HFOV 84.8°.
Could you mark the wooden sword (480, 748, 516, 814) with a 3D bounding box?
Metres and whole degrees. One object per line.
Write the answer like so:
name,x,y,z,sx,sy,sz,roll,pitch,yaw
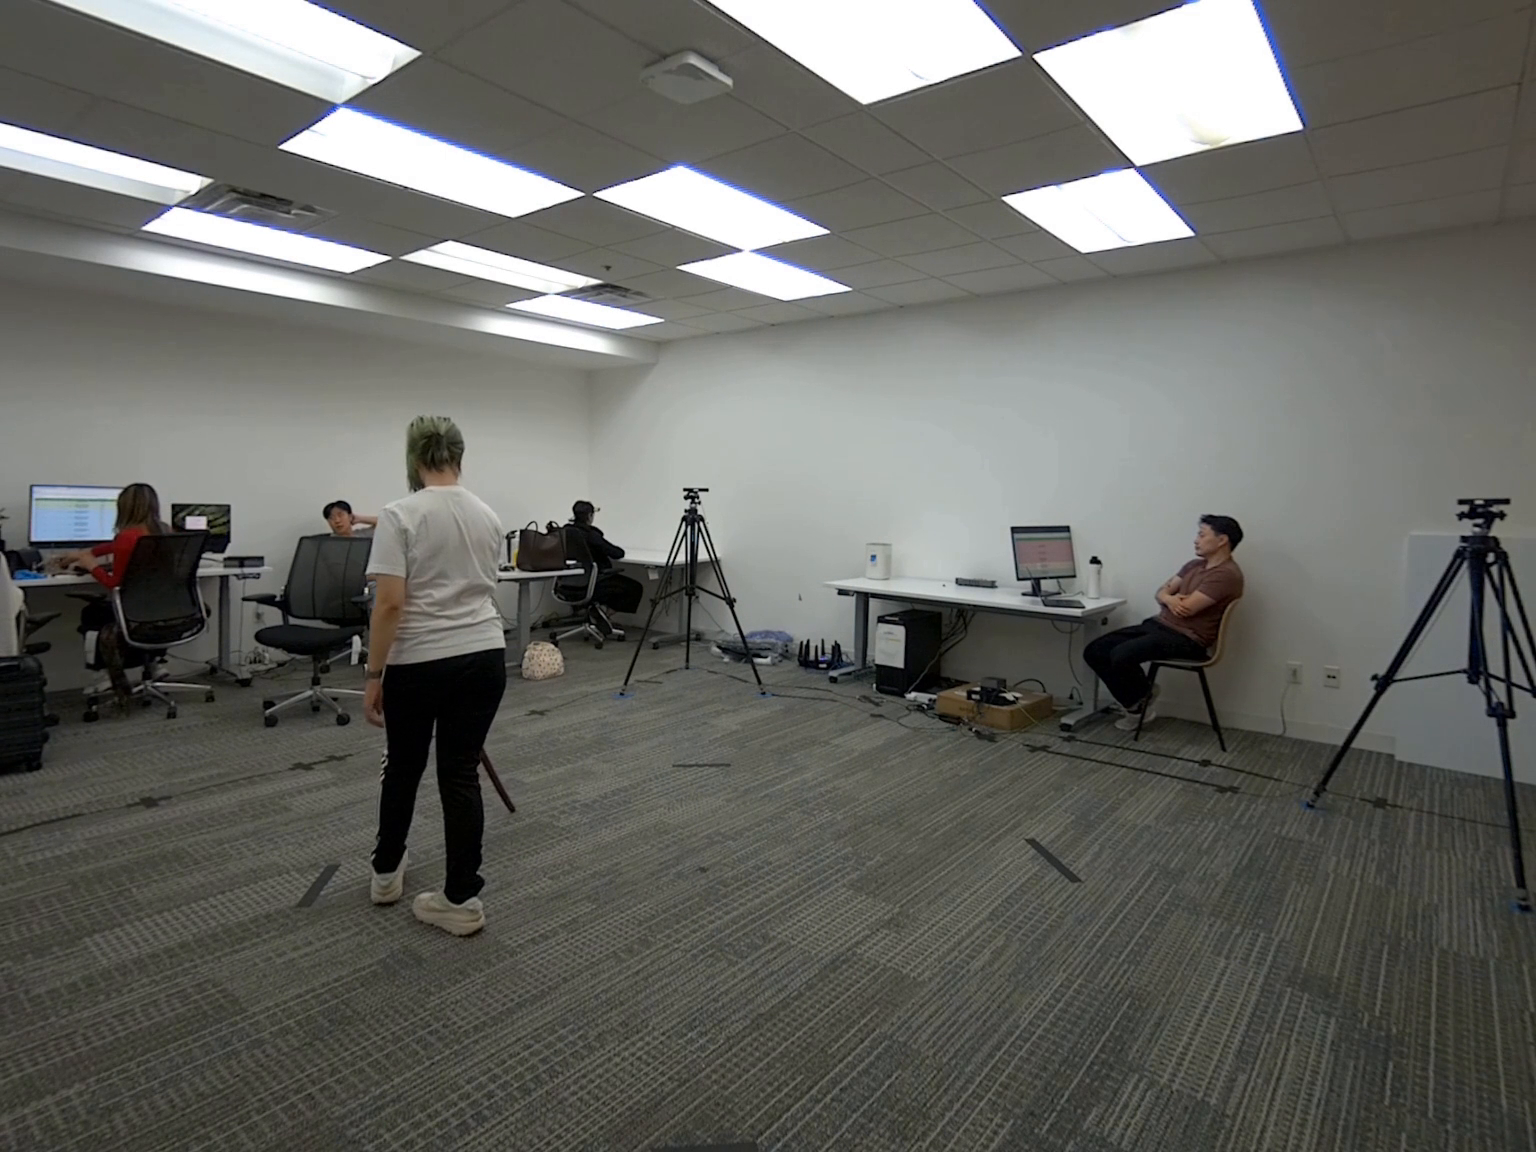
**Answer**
wooden sword,-1.137,0.663,3.284,0.052,0.992,0.024,12,48,16
